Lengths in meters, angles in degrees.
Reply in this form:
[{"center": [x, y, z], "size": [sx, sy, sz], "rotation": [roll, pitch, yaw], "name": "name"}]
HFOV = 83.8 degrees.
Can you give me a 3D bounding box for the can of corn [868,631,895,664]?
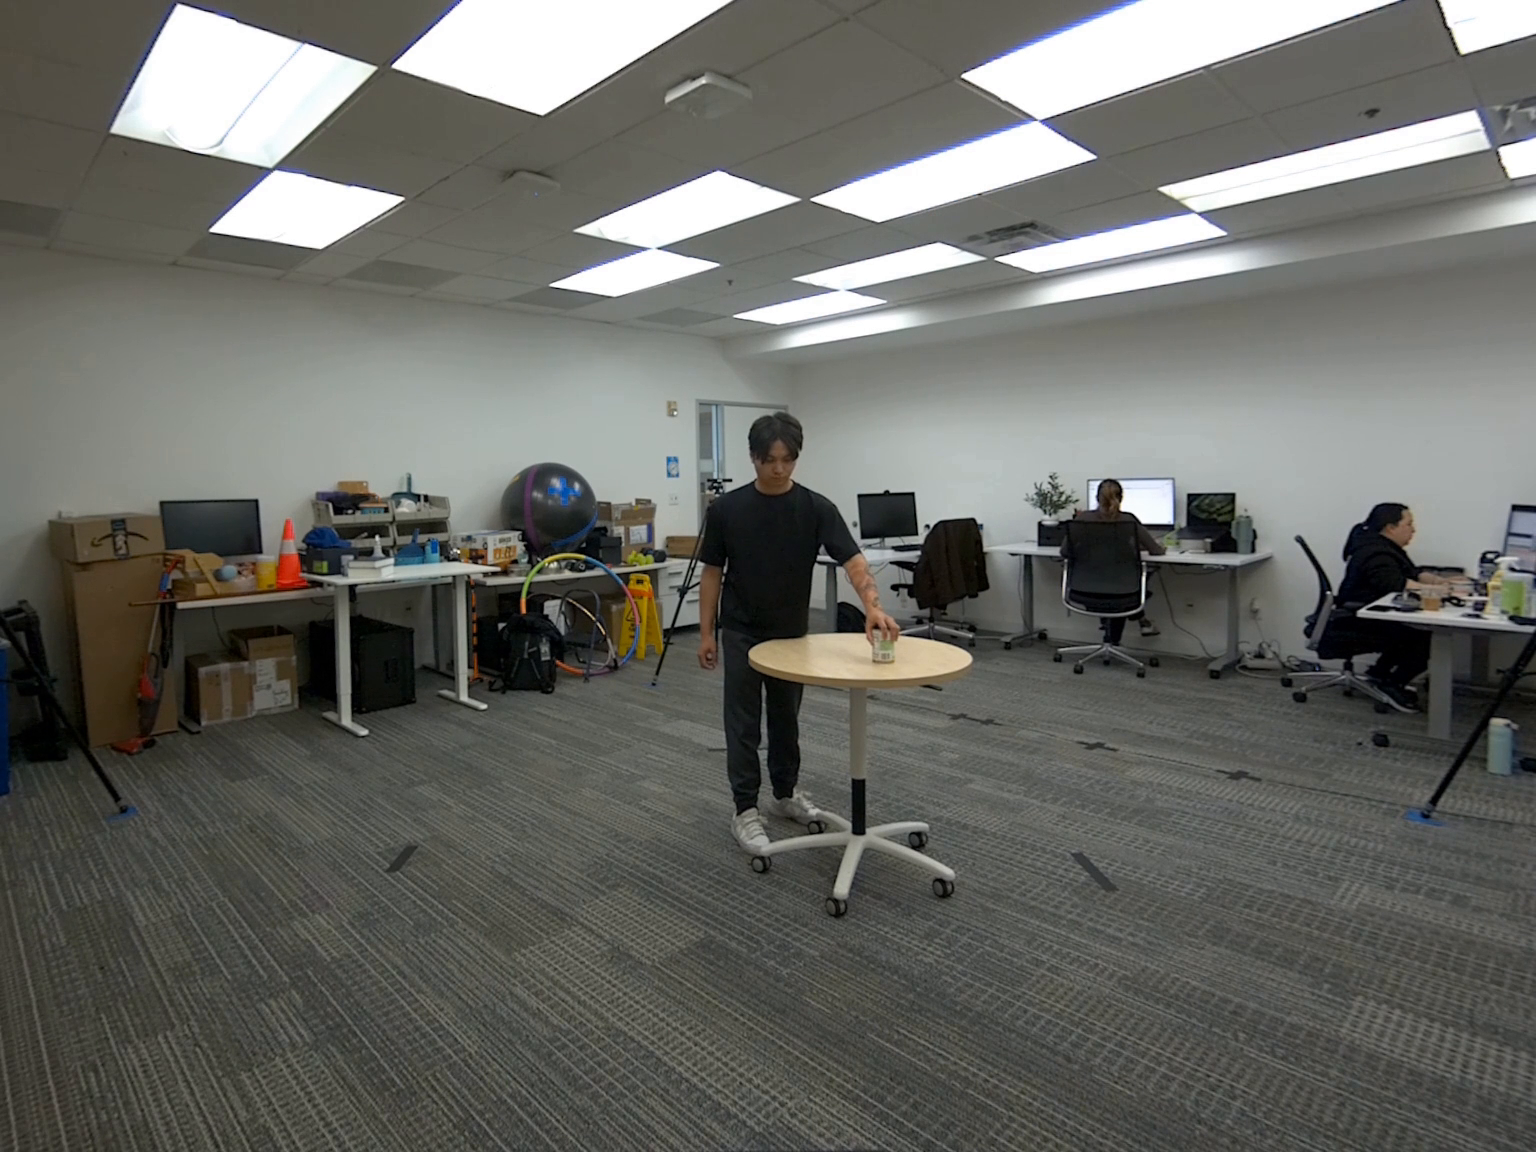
[{"center": [0.387, 0.228, 2.841], "size": [0.074, 0.110, 0.075], "rotation": [1, 6, -2], "name": "can of corn"}]
